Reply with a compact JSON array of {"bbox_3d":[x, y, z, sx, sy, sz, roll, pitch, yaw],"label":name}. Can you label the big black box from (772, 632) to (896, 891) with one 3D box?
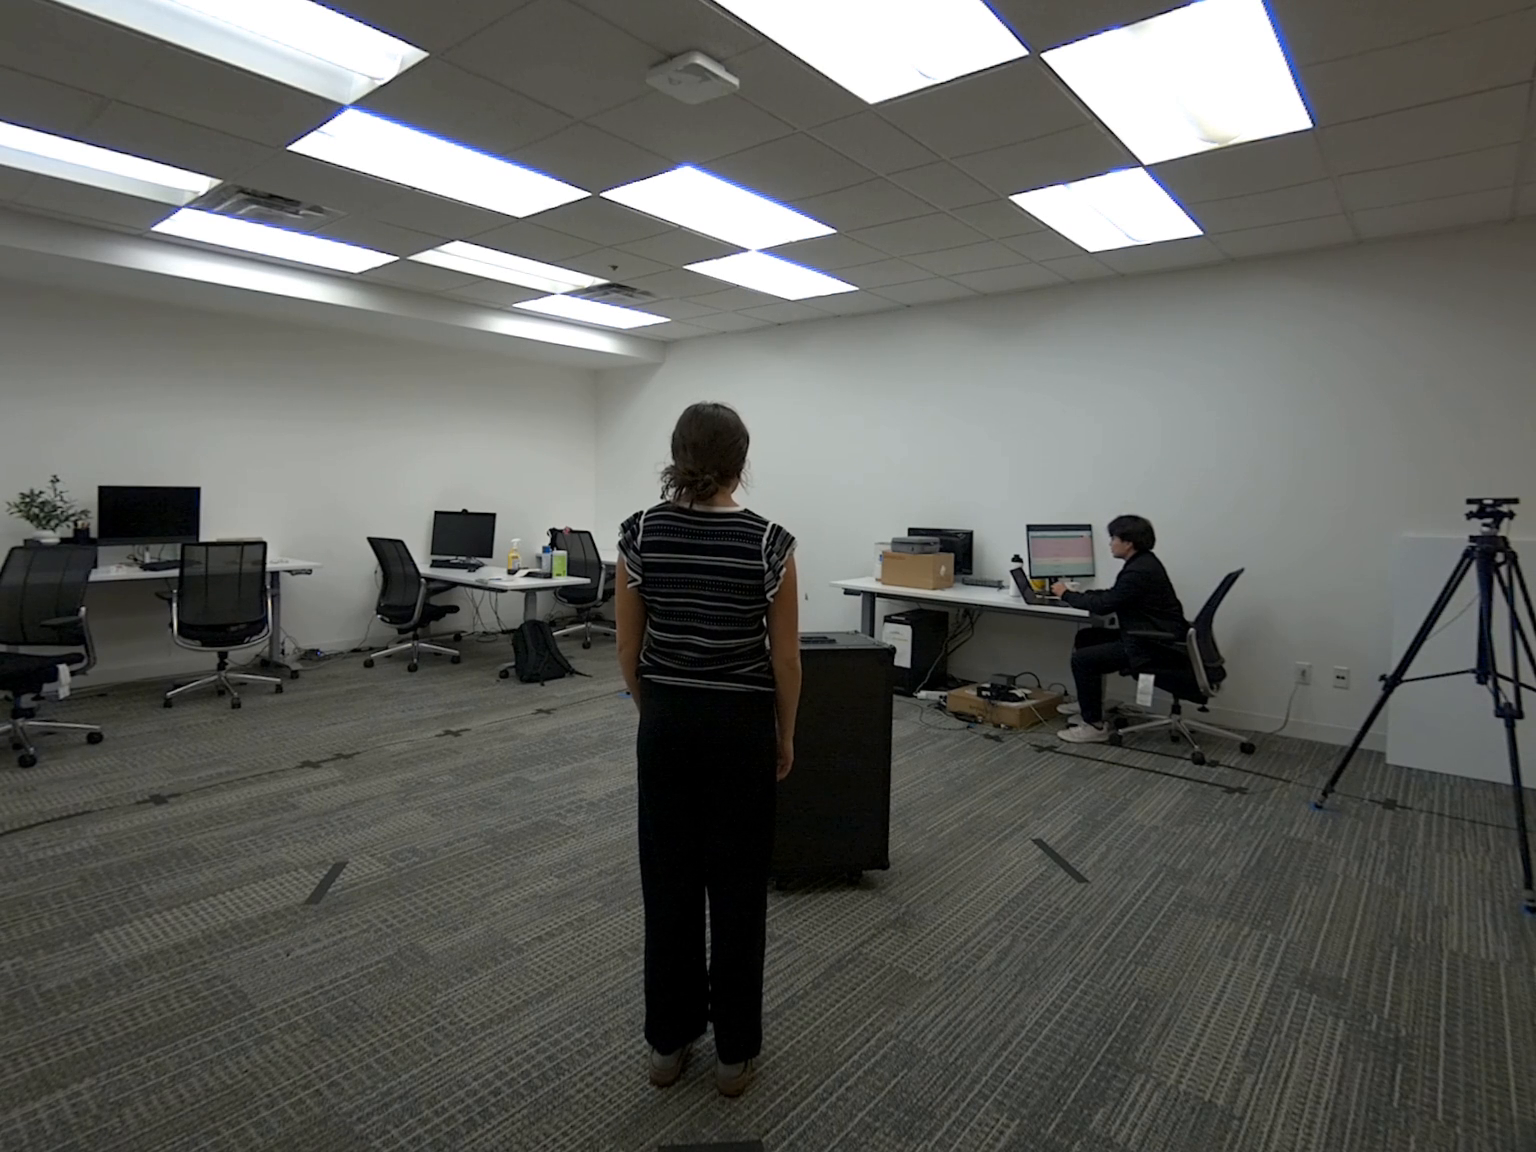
[{"bbox_3d":[0.142,0.648,3.094,0.514,0.860,0.402,1,2,-13],"label":"big black box"}]
